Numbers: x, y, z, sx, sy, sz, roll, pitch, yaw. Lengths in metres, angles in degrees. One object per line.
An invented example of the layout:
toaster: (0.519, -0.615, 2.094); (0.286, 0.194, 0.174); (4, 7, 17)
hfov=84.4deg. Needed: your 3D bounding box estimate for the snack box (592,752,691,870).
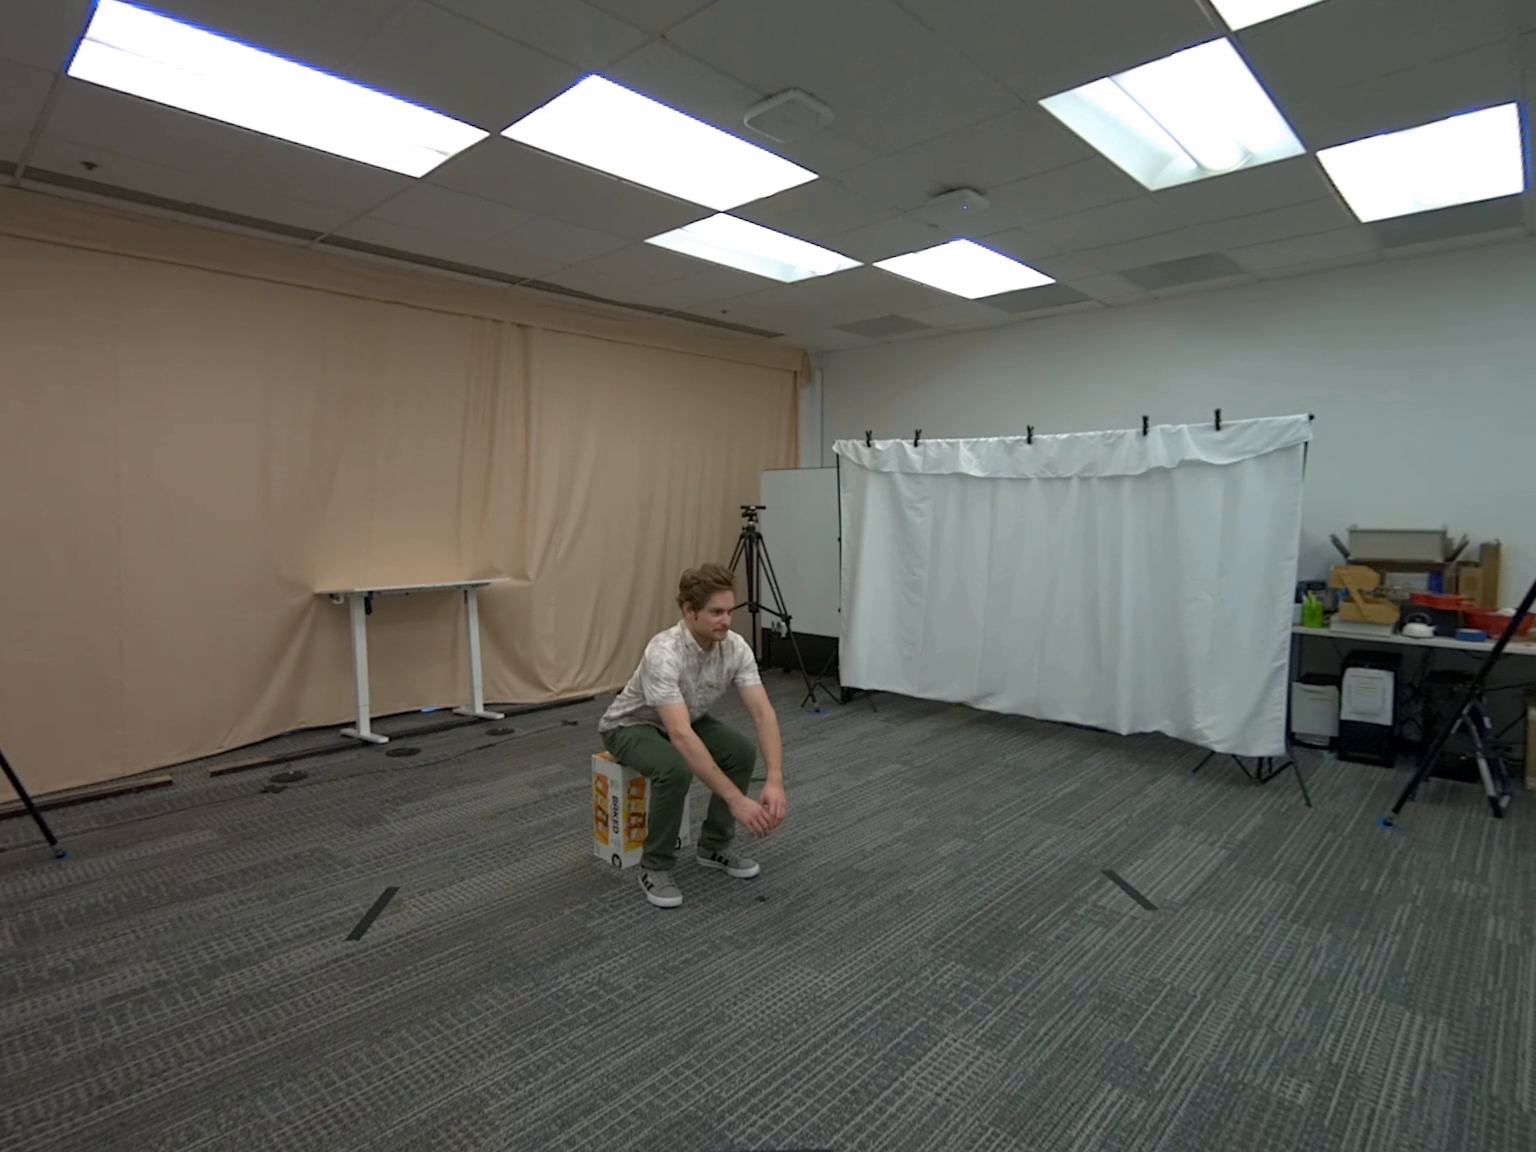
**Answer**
snack box: (-0.514, 0.911, 3.408); (0.330, 0.404, 0.212); (-4, 6, -44)
